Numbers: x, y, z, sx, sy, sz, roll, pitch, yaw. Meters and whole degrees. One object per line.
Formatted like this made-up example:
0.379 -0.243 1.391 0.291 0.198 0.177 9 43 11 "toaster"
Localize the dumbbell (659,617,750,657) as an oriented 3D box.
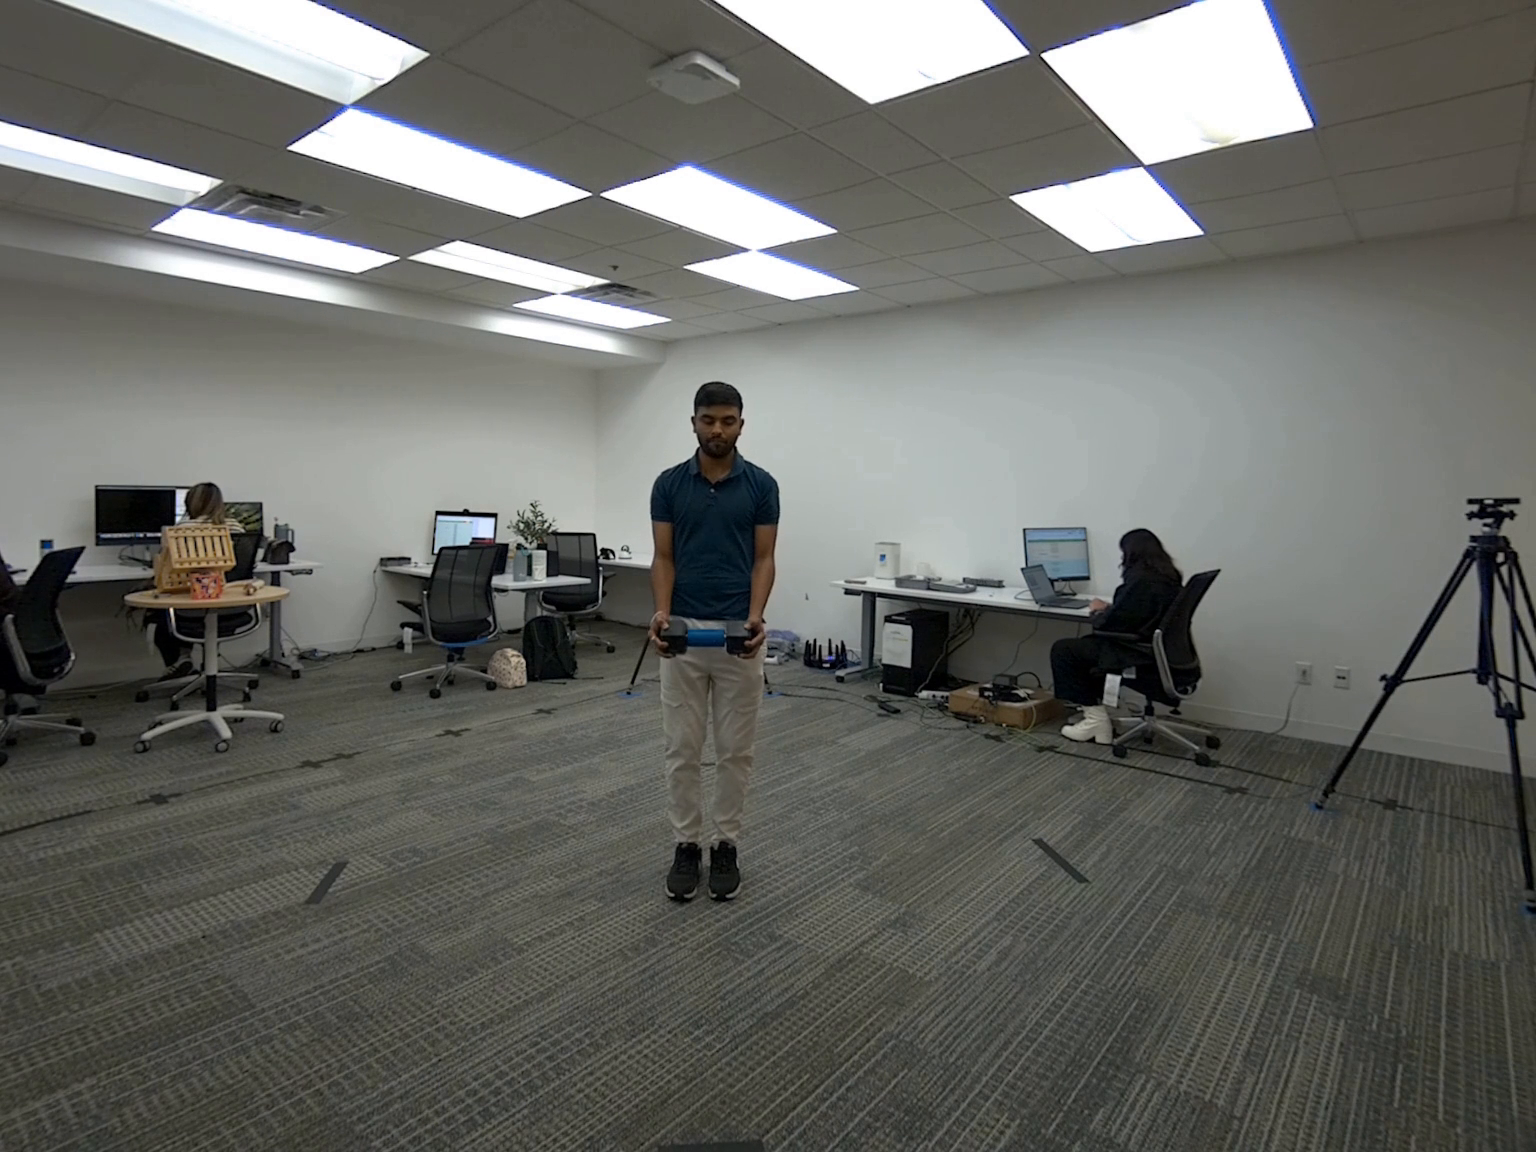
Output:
-0.206 0.185 2.807 0.297 0.120 0.109 1 21 11 "dumbbell"
